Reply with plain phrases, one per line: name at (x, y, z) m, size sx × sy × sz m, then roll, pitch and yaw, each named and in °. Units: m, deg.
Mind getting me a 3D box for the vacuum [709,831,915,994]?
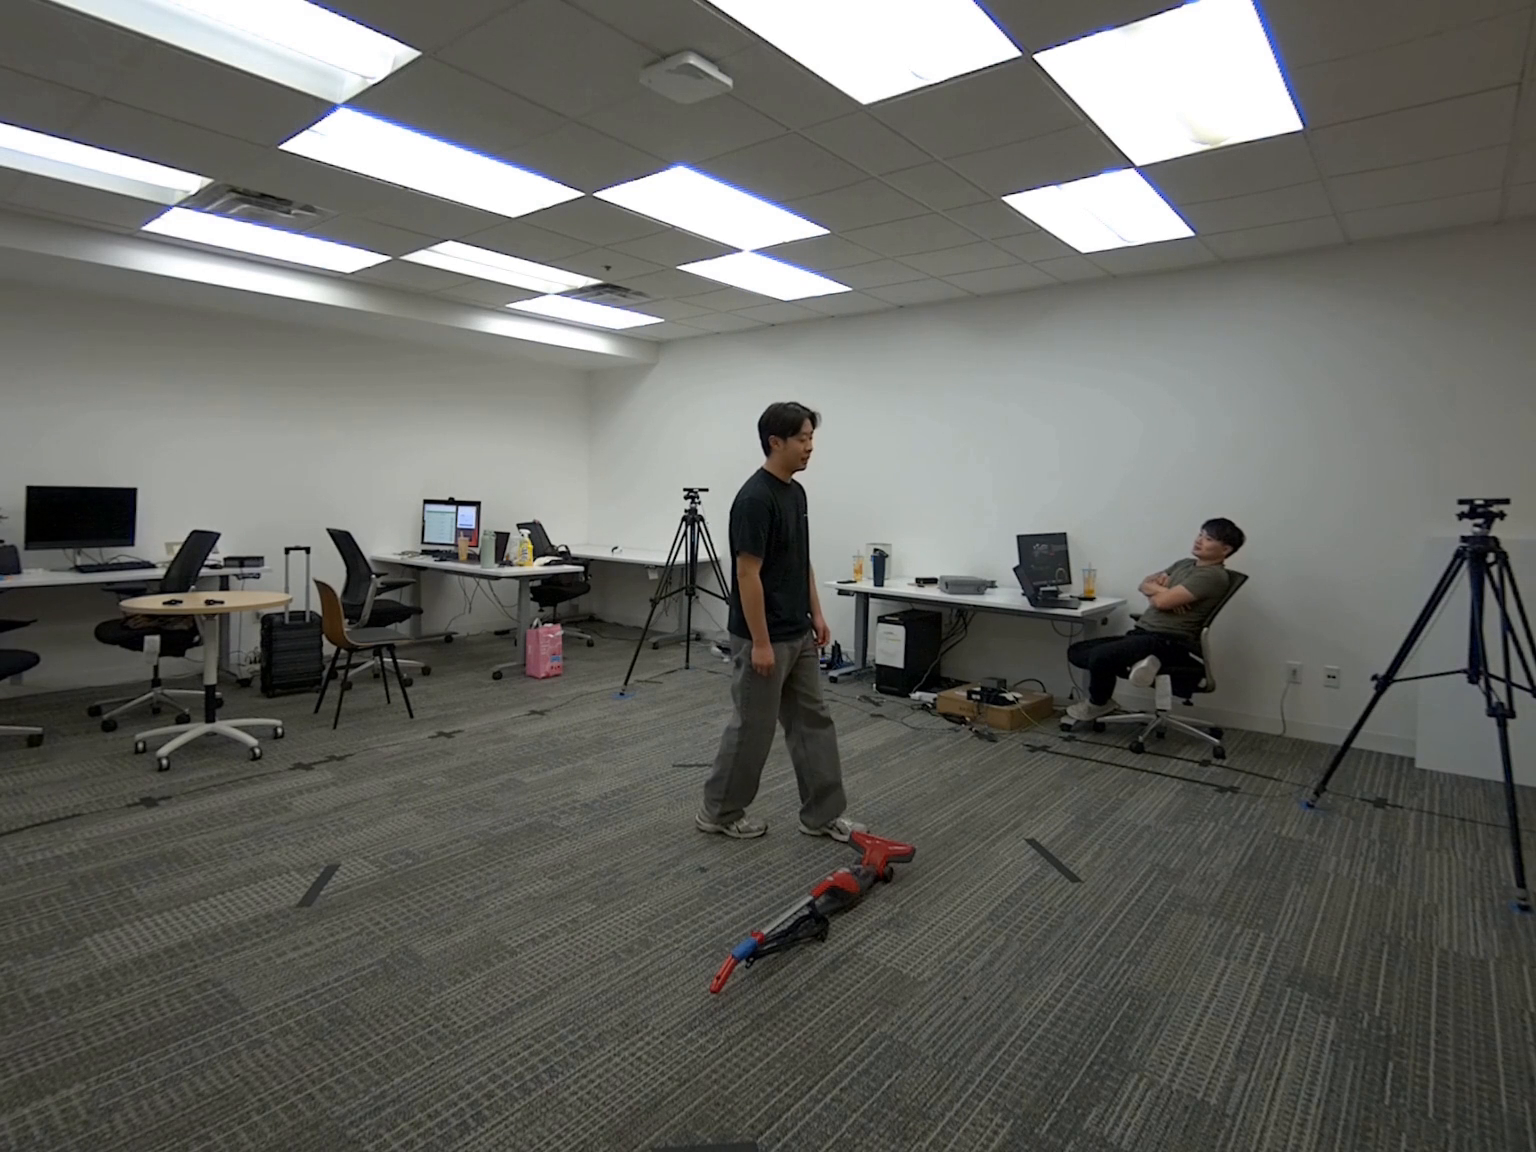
vacuum at (0.130, 1.063, 2.687) m, size 0.260 × 0.143 × 1.022 m, roll 5°, pitch 7°, yaw 32°
